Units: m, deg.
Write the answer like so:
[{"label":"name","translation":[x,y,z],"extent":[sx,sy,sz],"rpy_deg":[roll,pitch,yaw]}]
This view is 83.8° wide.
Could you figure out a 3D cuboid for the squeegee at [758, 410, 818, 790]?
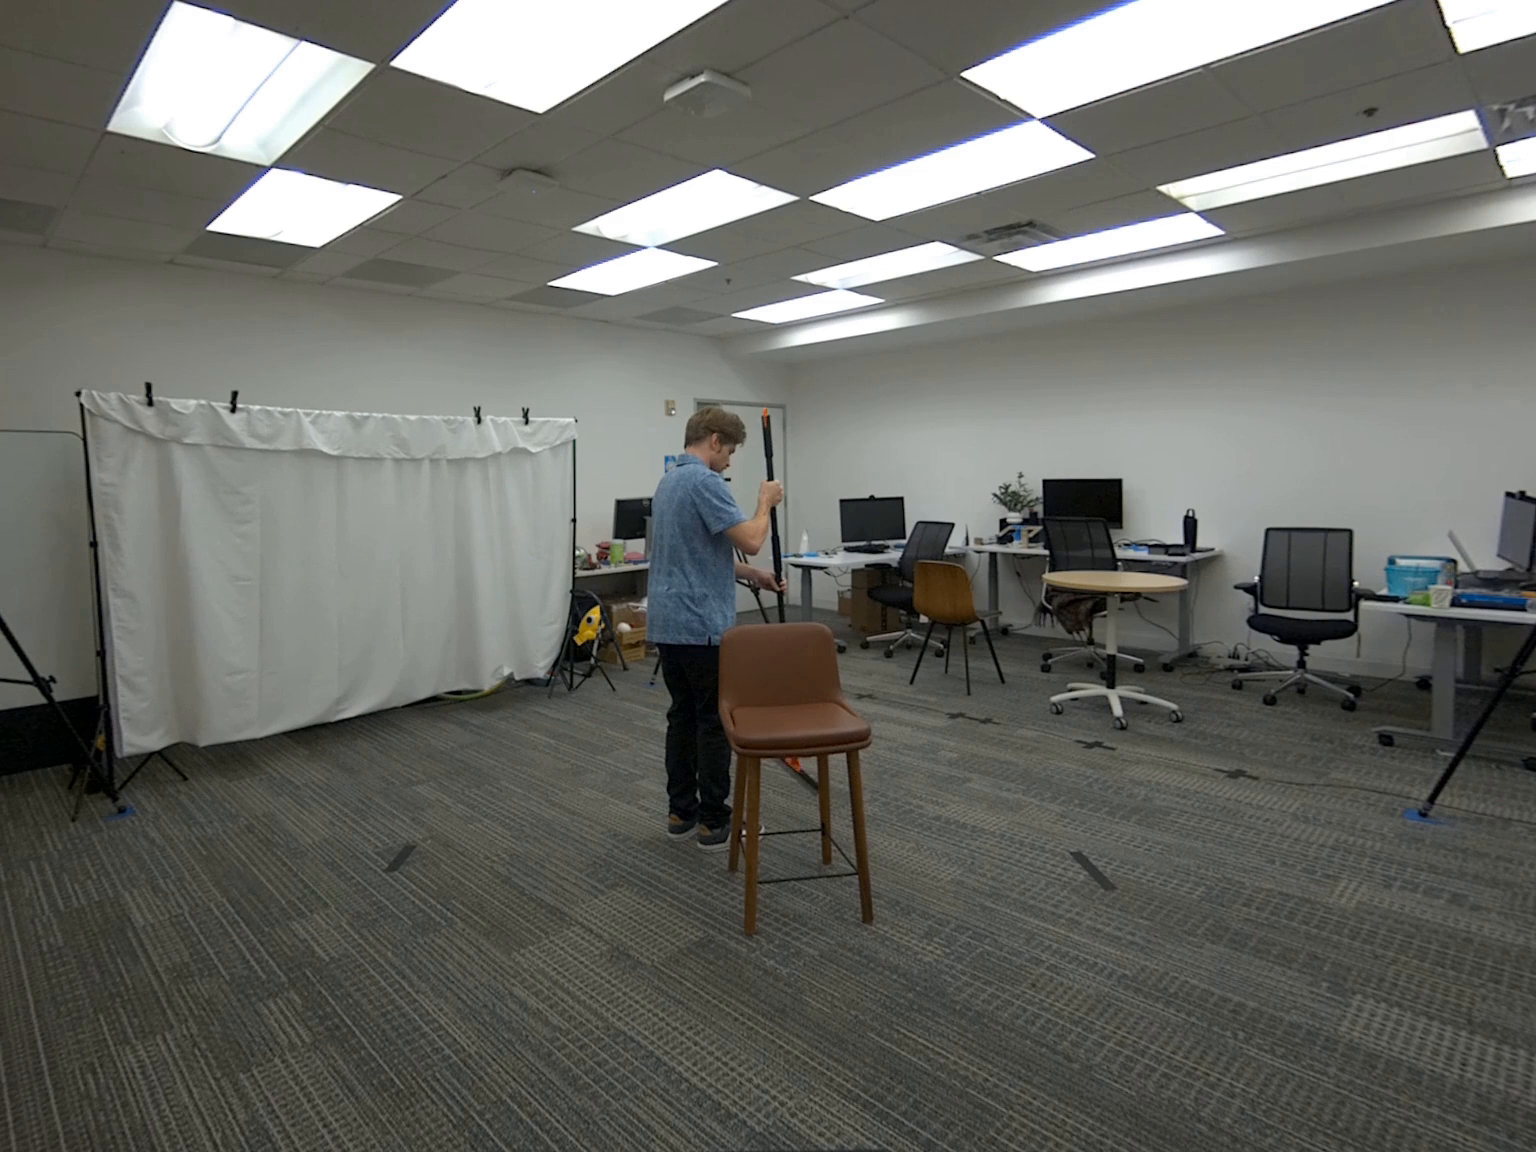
[{"label":"squeegee","translation":[0.061,0.106,3.479],"extent":[0.052,1.520,0.450],"rpy_deg":[-9,13,-25]}]
